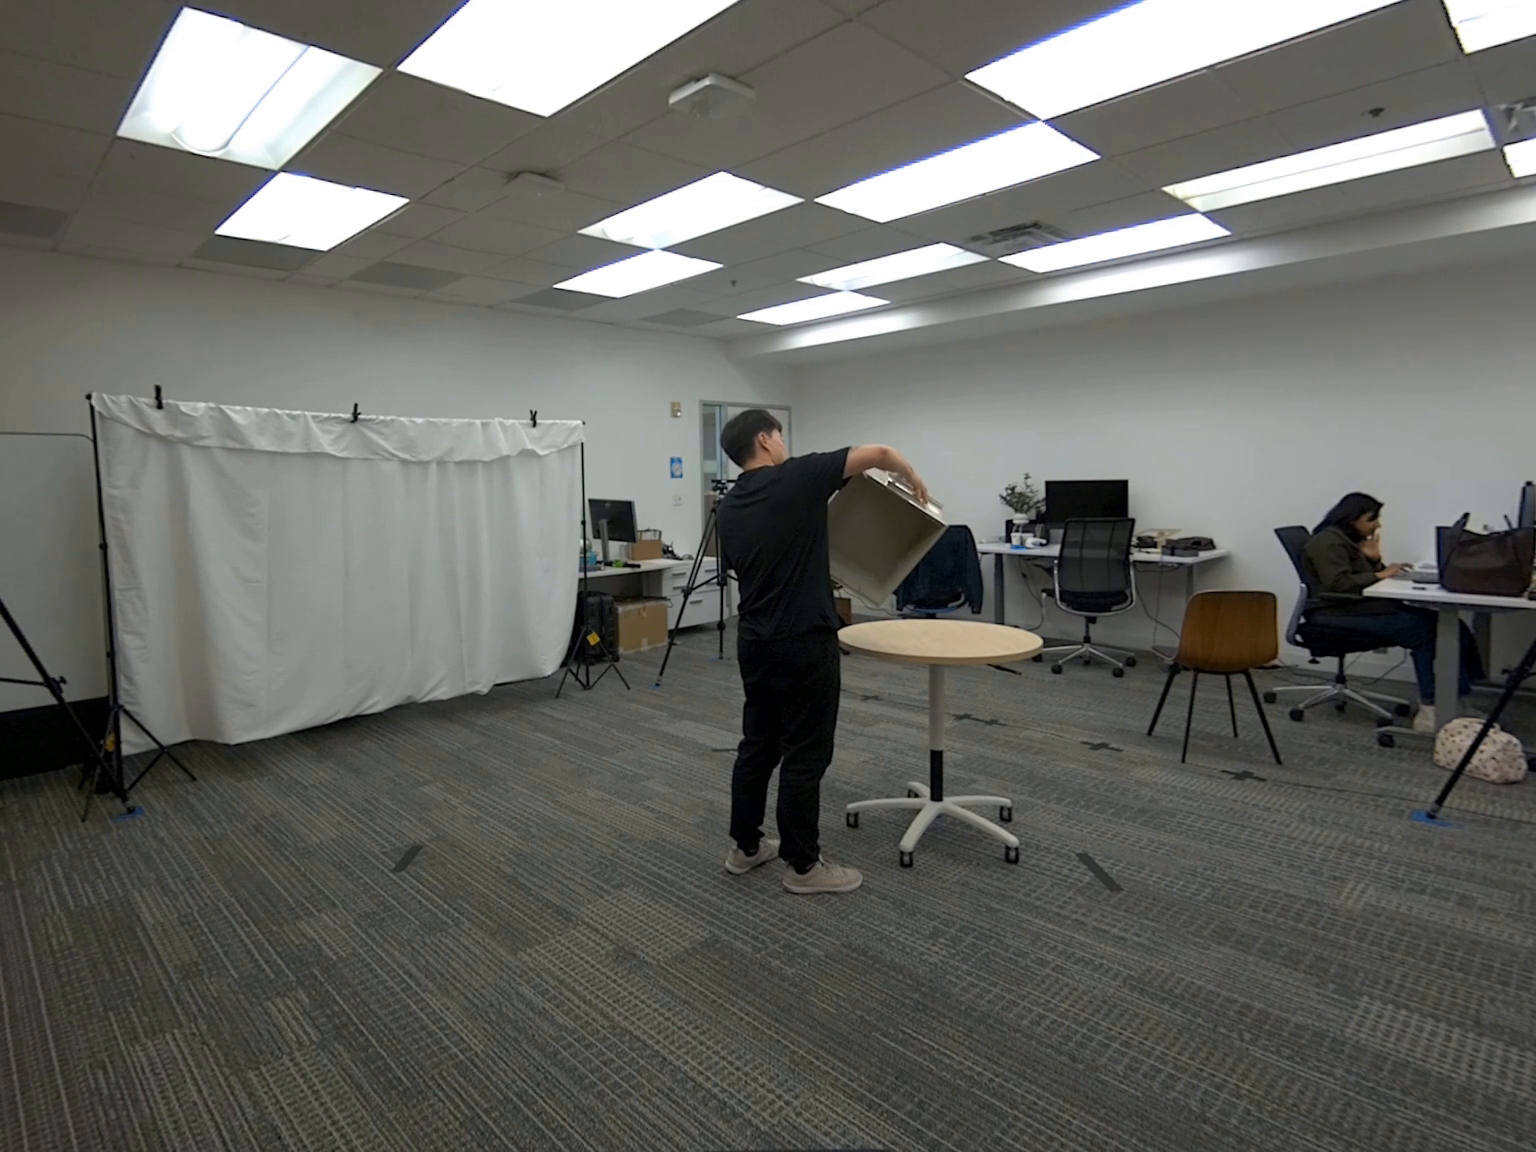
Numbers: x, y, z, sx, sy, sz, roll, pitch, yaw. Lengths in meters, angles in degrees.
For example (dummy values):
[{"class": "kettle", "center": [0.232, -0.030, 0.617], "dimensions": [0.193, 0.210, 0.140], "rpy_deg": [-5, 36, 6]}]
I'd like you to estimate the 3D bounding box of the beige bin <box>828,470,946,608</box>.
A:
[{"class": "beige bin", "center": [0.378, -0.165, 3.141], "dimensions": [0.375, 0.420, 0.191], "rpy_deg": [32, 28, -6]}]
